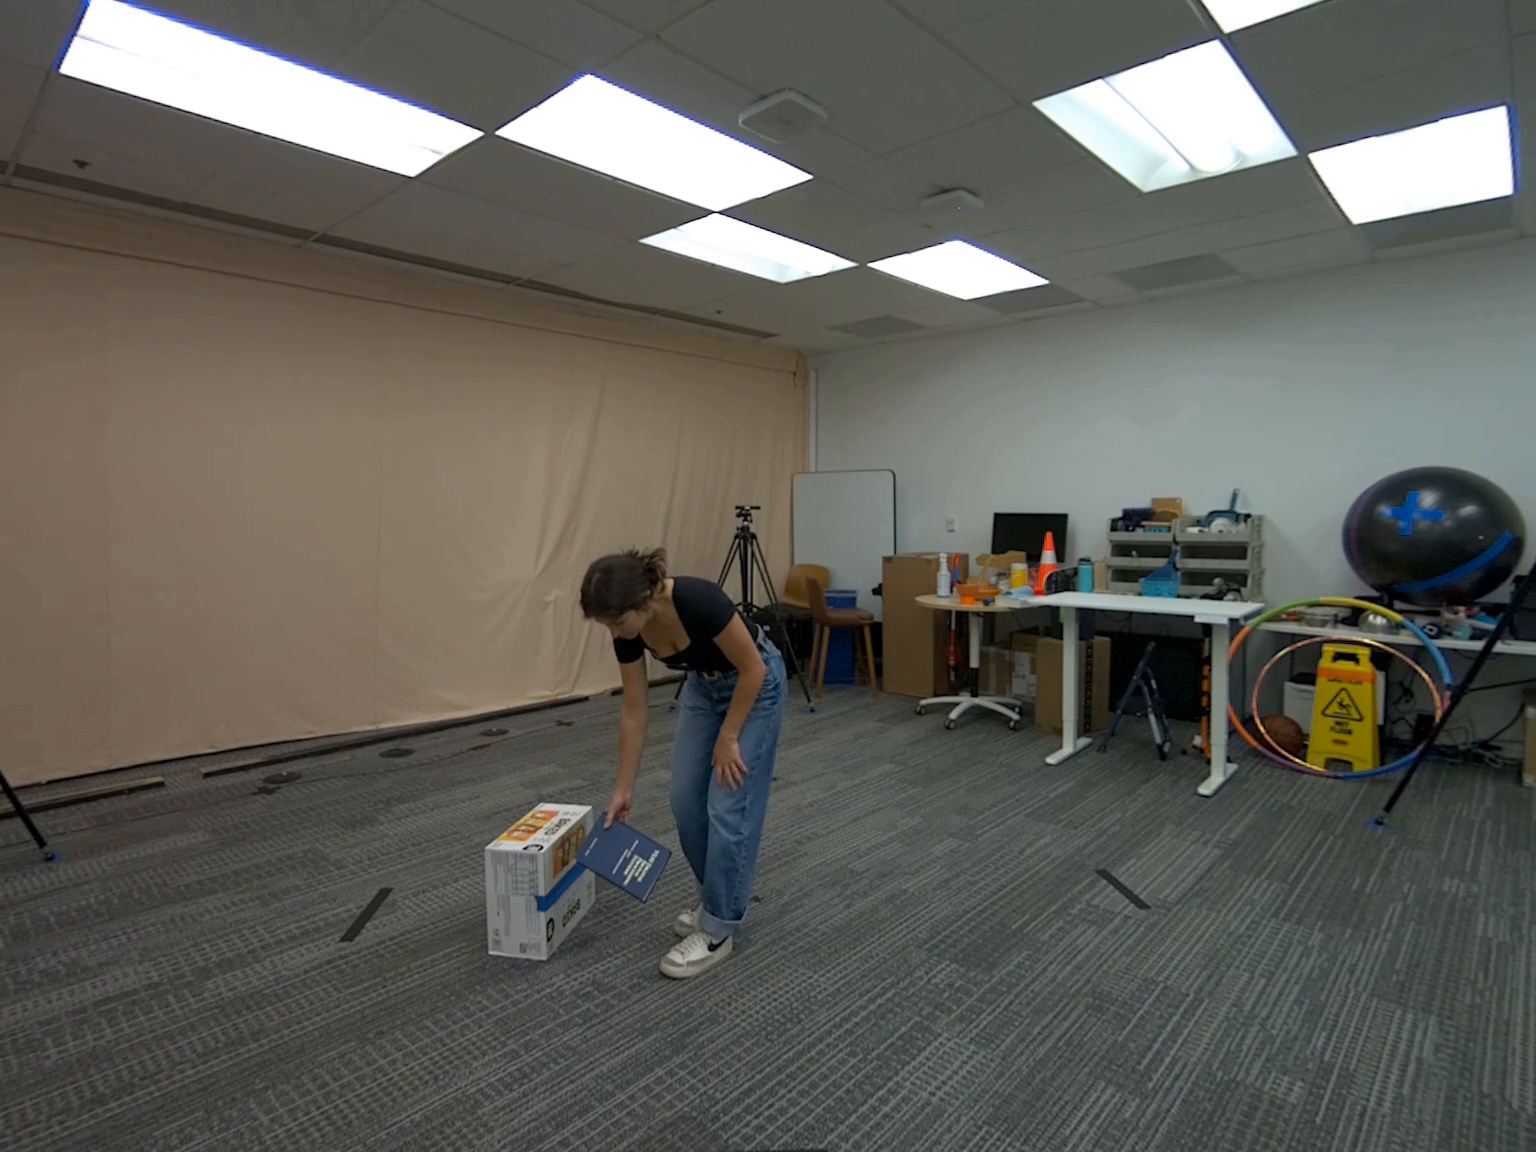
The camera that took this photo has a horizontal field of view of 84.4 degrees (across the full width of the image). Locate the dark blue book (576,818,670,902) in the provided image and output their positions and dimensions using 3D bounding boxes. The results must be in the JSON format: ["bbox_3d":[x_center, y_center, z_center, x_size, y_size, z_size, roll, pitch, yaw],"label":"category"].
[{"bbox_3d":[-0.433,0.844,2.539,0.249,0.163,0.044,24,-26,14],"label":"dark blue book"}]
